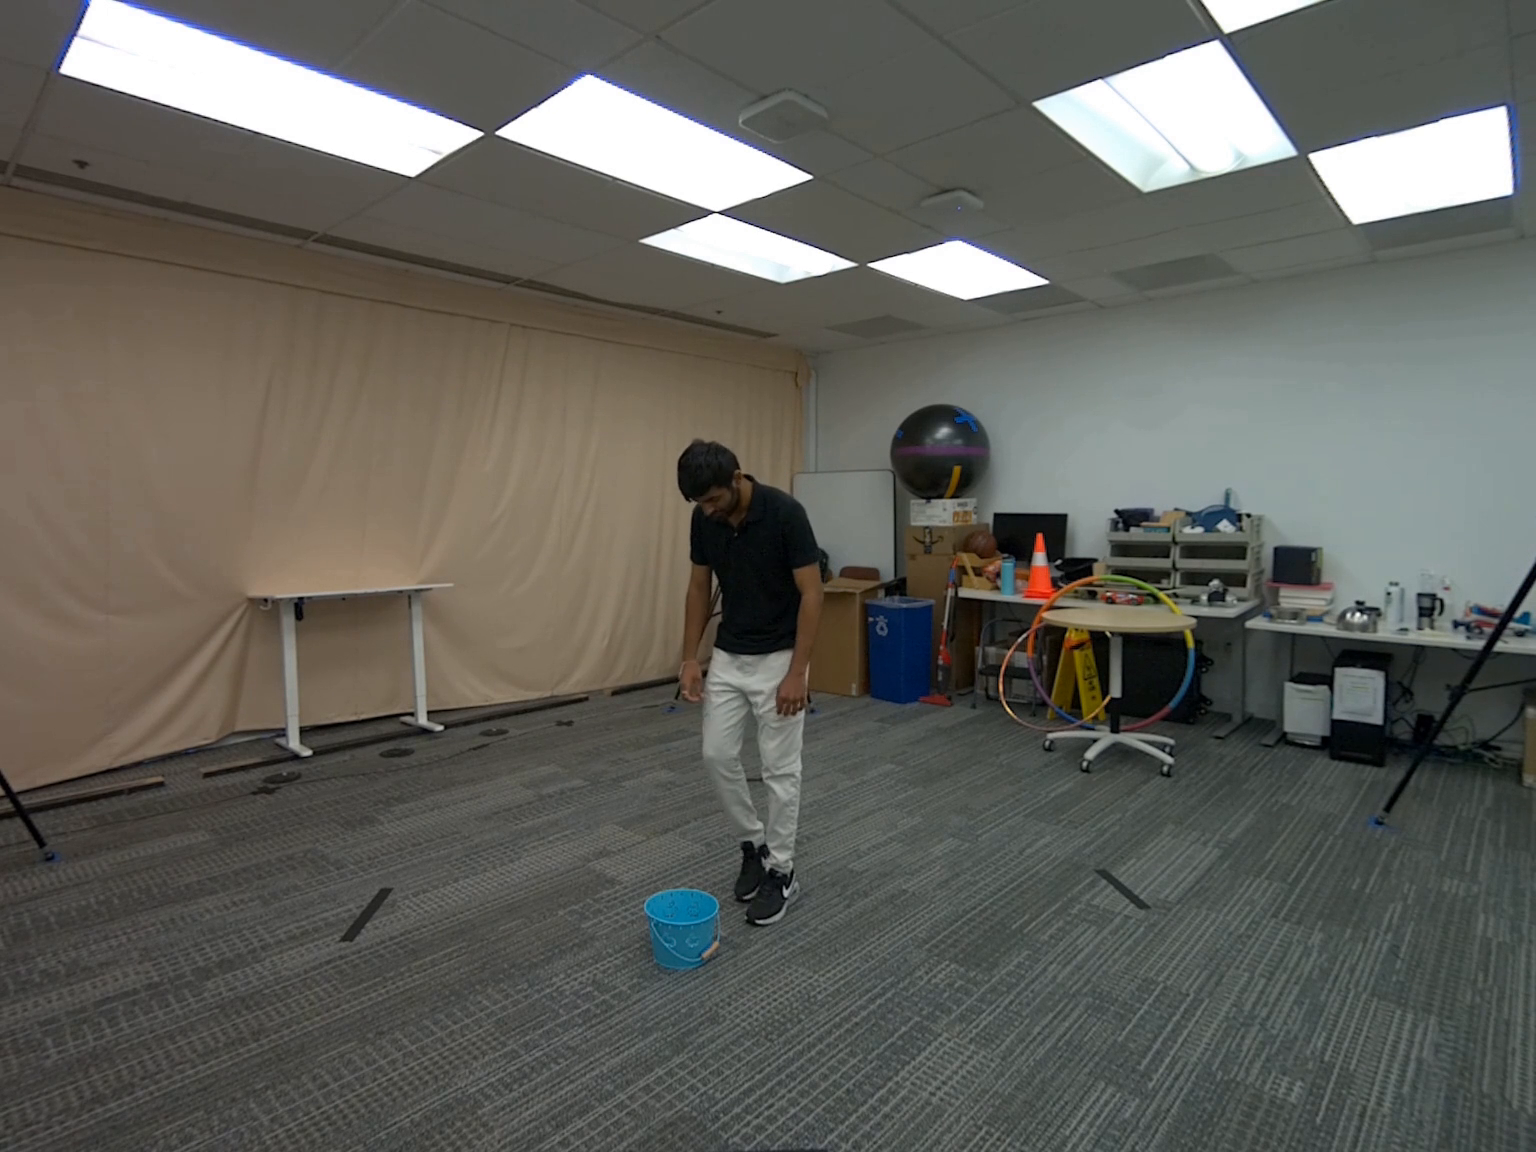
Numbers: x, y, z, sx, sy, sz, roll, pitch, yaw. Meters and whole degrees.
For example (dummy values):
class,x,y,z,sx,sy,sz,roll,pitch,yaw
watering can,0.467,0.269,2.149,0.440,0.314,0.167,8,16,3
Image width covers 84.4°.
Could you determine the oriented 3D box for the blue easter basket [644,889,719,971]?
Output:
class,x,y,z,sx,sy,sz,roll,pitch,yaw
blue easter basket,-0.263,1.097,2.607,0.243,0.155,0.244,-1,4,-2
